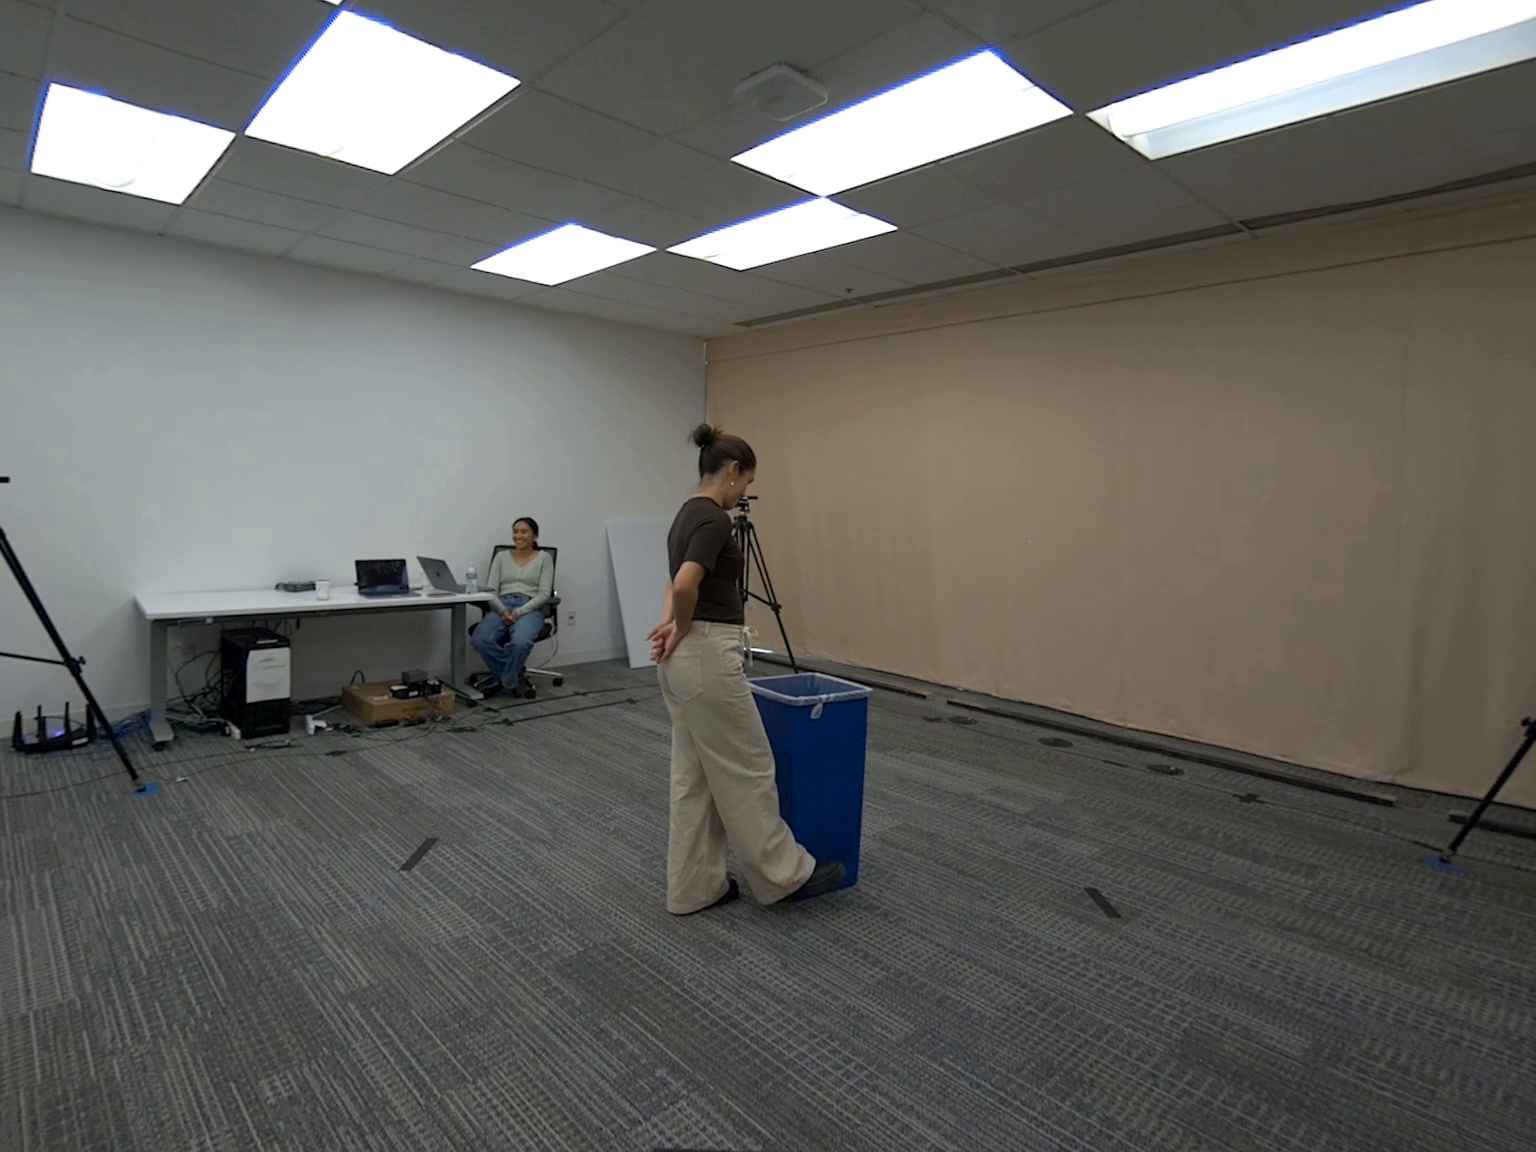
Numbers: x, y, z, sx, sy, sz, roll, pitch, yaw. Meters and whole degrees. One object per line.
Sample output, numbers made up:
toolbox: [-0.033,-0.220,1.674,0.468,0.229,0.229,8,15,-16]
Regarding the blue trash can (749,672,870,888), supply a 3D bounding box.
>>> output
blue trash can: [0.126,0.751,3.094,0.366,0.712,0.387,-1,3,-34]
